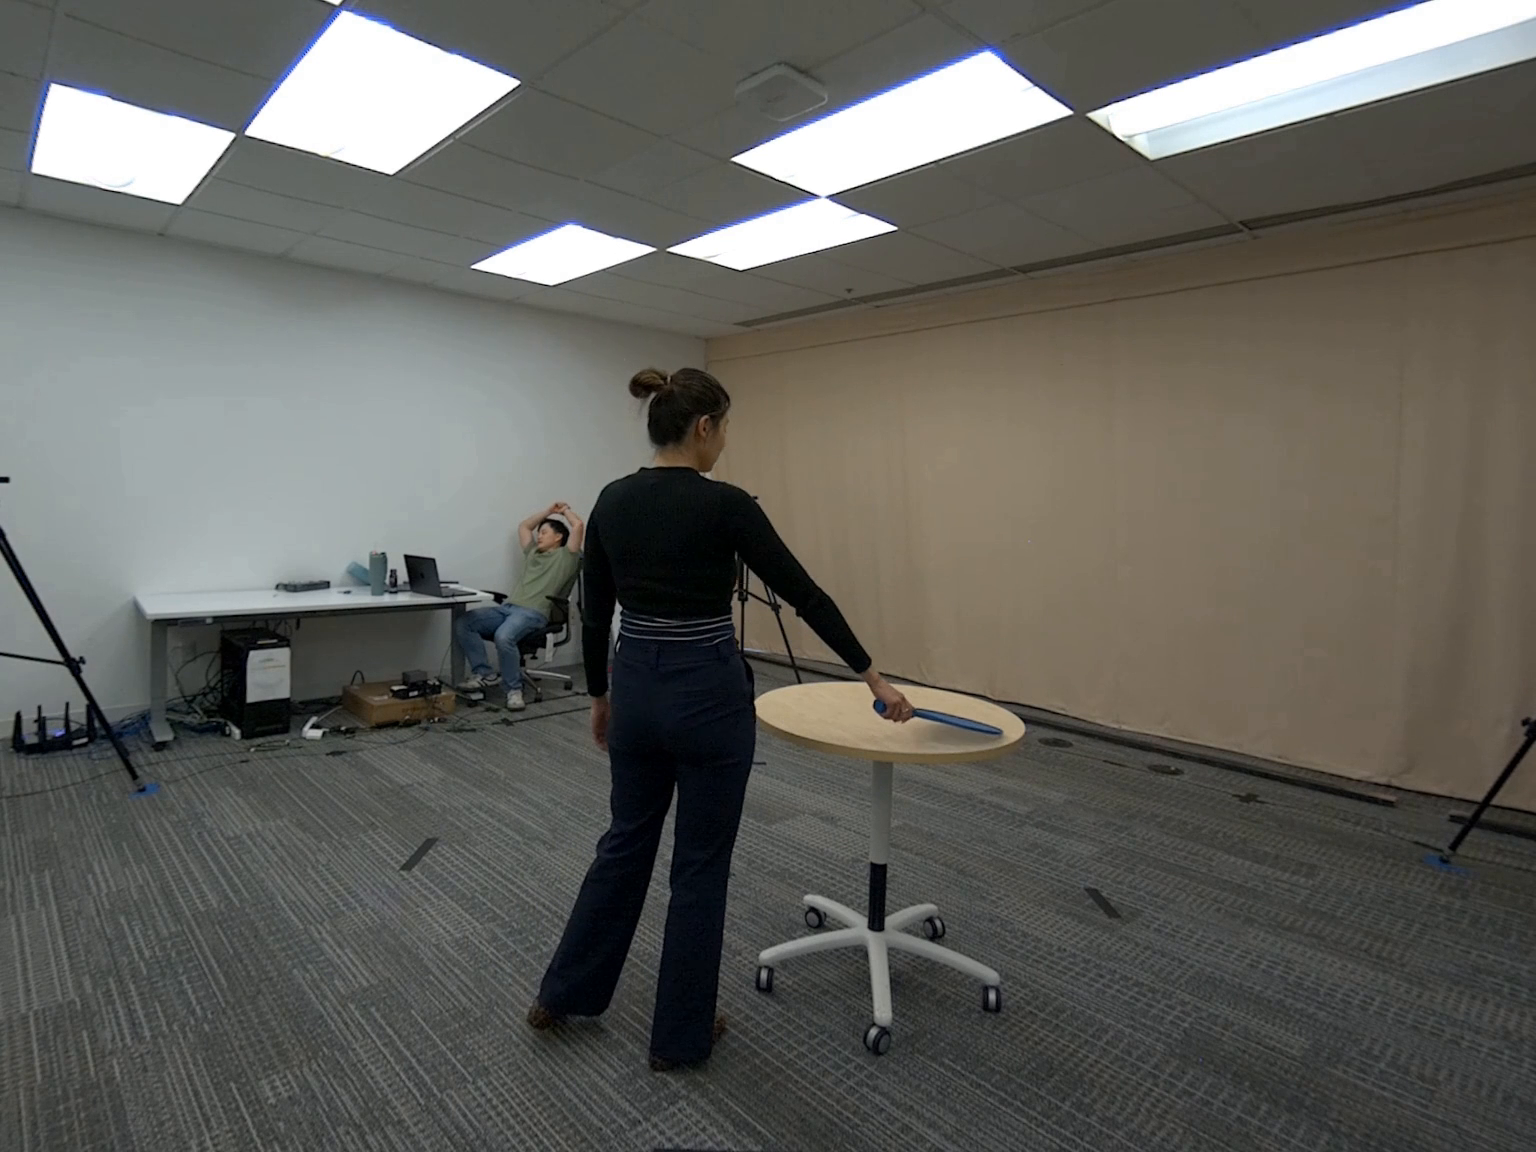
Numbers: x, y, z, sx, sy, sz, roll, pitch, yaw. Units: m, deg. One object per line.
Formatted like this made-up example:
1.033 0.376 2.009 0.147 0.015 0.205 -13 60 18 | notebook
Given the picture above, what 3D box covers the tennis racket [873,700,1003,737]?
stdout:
0.429 0.367 2.197 0.422 0.032 0.219 14 -2 -33 | tennis racket
